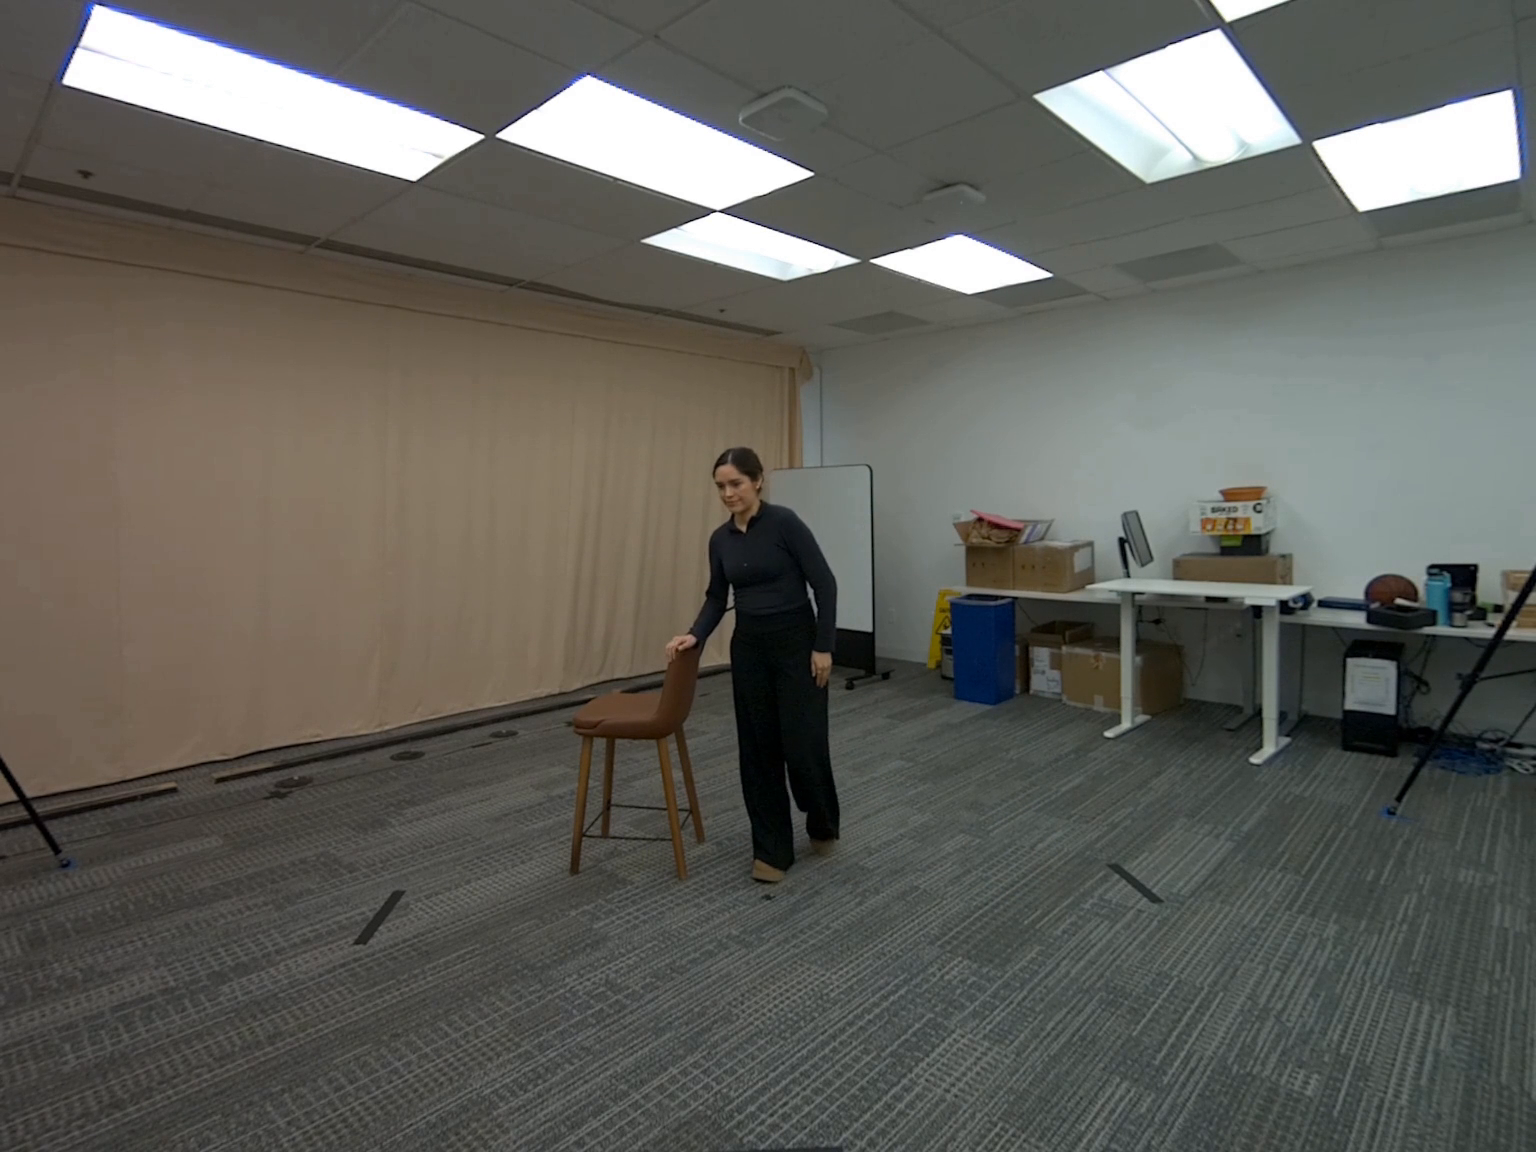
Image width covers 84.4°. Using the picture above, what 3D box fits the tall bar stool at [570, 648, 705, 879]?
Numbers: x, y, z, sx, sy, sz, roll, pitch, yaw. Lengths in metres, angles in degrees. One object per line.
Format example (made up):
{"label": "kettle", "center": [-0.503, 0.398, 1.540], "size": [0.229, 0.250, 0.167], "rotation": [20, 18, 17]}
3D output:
{"label": "tall bar stool", "center": [-0.510, 0.686, 3.340], "size": [0.473, 0.888, 0.452], "rotation": [1, 3, 10]}
